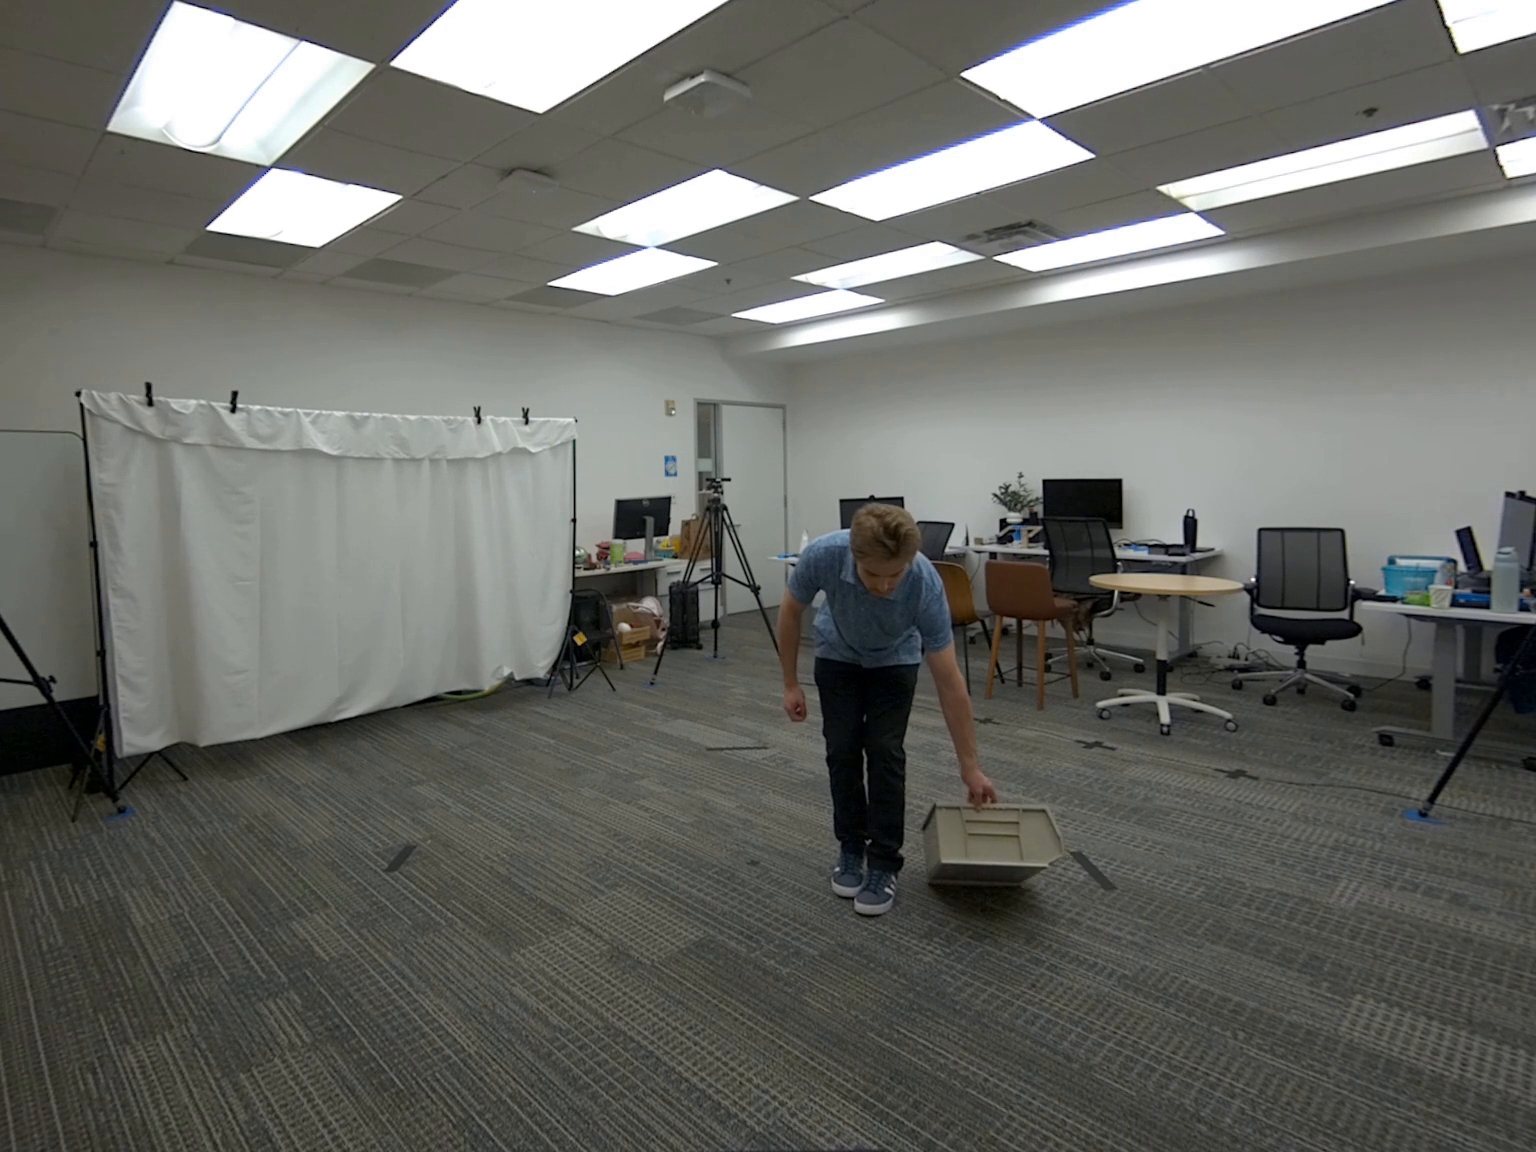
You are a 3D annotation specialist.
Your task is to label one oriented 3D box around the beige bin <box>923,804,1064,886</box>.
[{"bbox_3d":[0.713,0.884,2.774,0.378,0.193,0.413,1,-26,1],"label":"beige bin"}]
